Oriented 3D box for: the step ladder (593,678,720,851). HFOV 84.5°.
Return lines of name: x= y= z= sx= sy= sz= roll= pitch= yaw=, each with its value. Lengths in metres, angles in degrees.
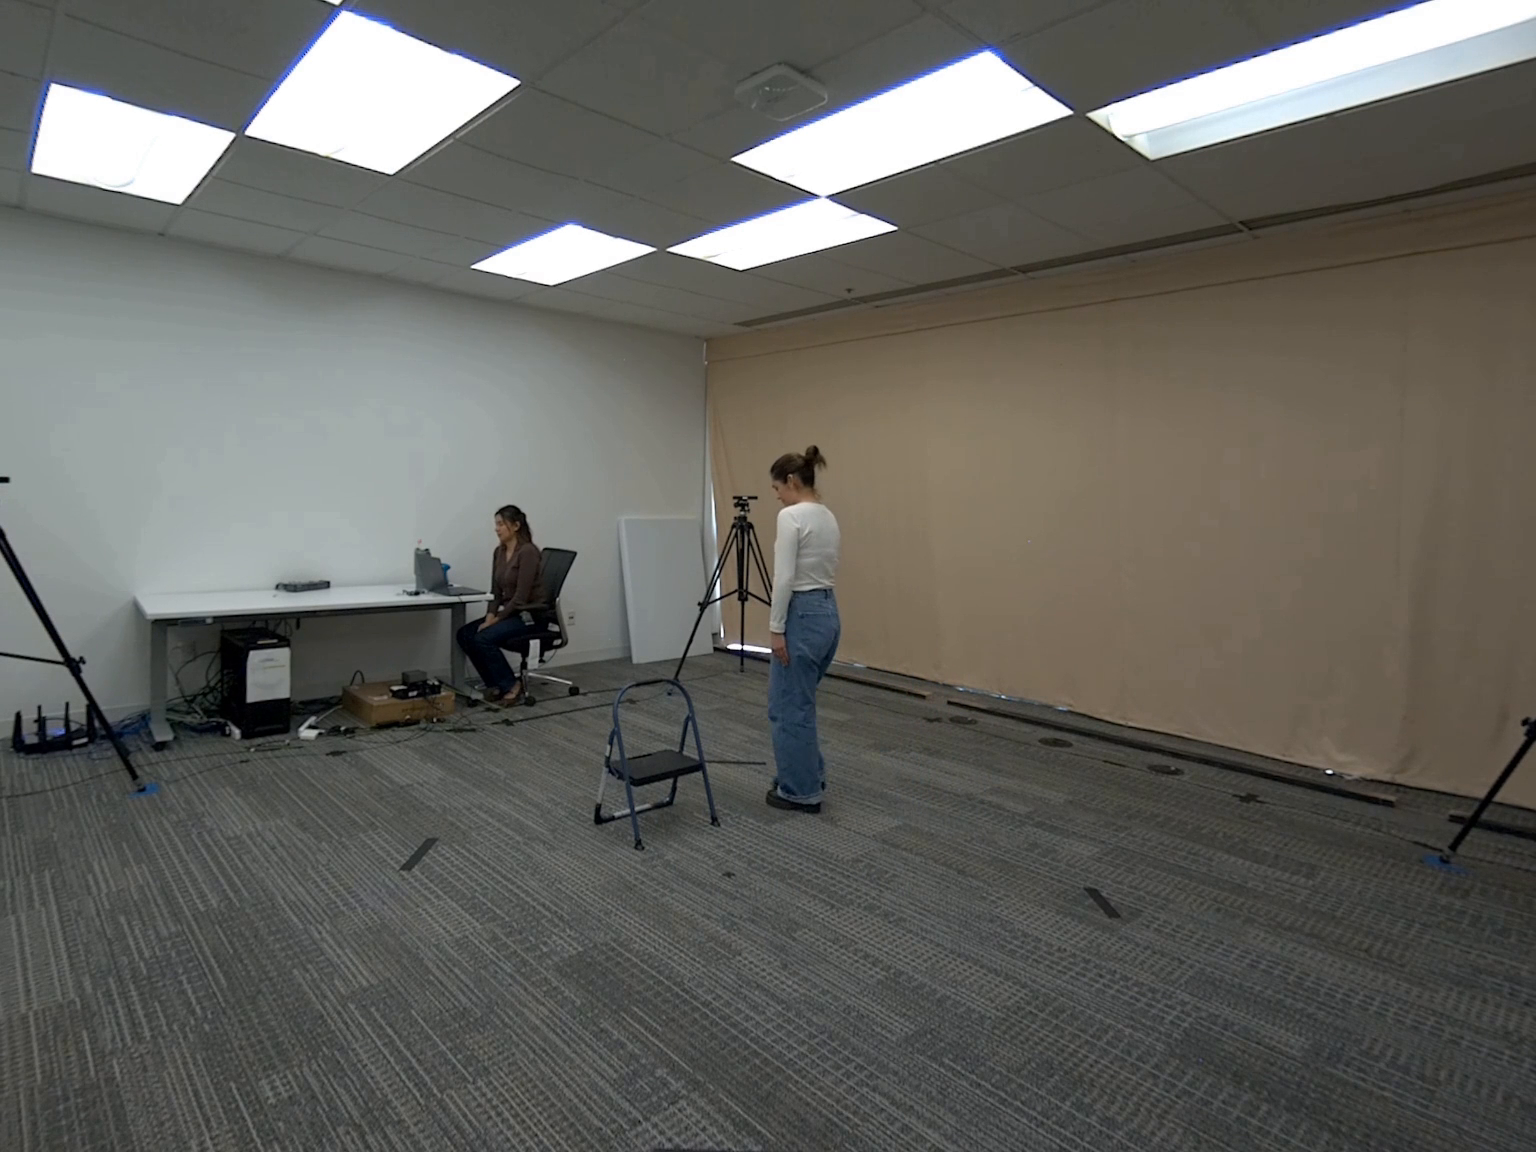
step ladder: x=-0.472 y=0.754 z=3.550 sx=0.421 sy=0.605 sz=0.358 roll=-2 pitch=4 yaw=-44
